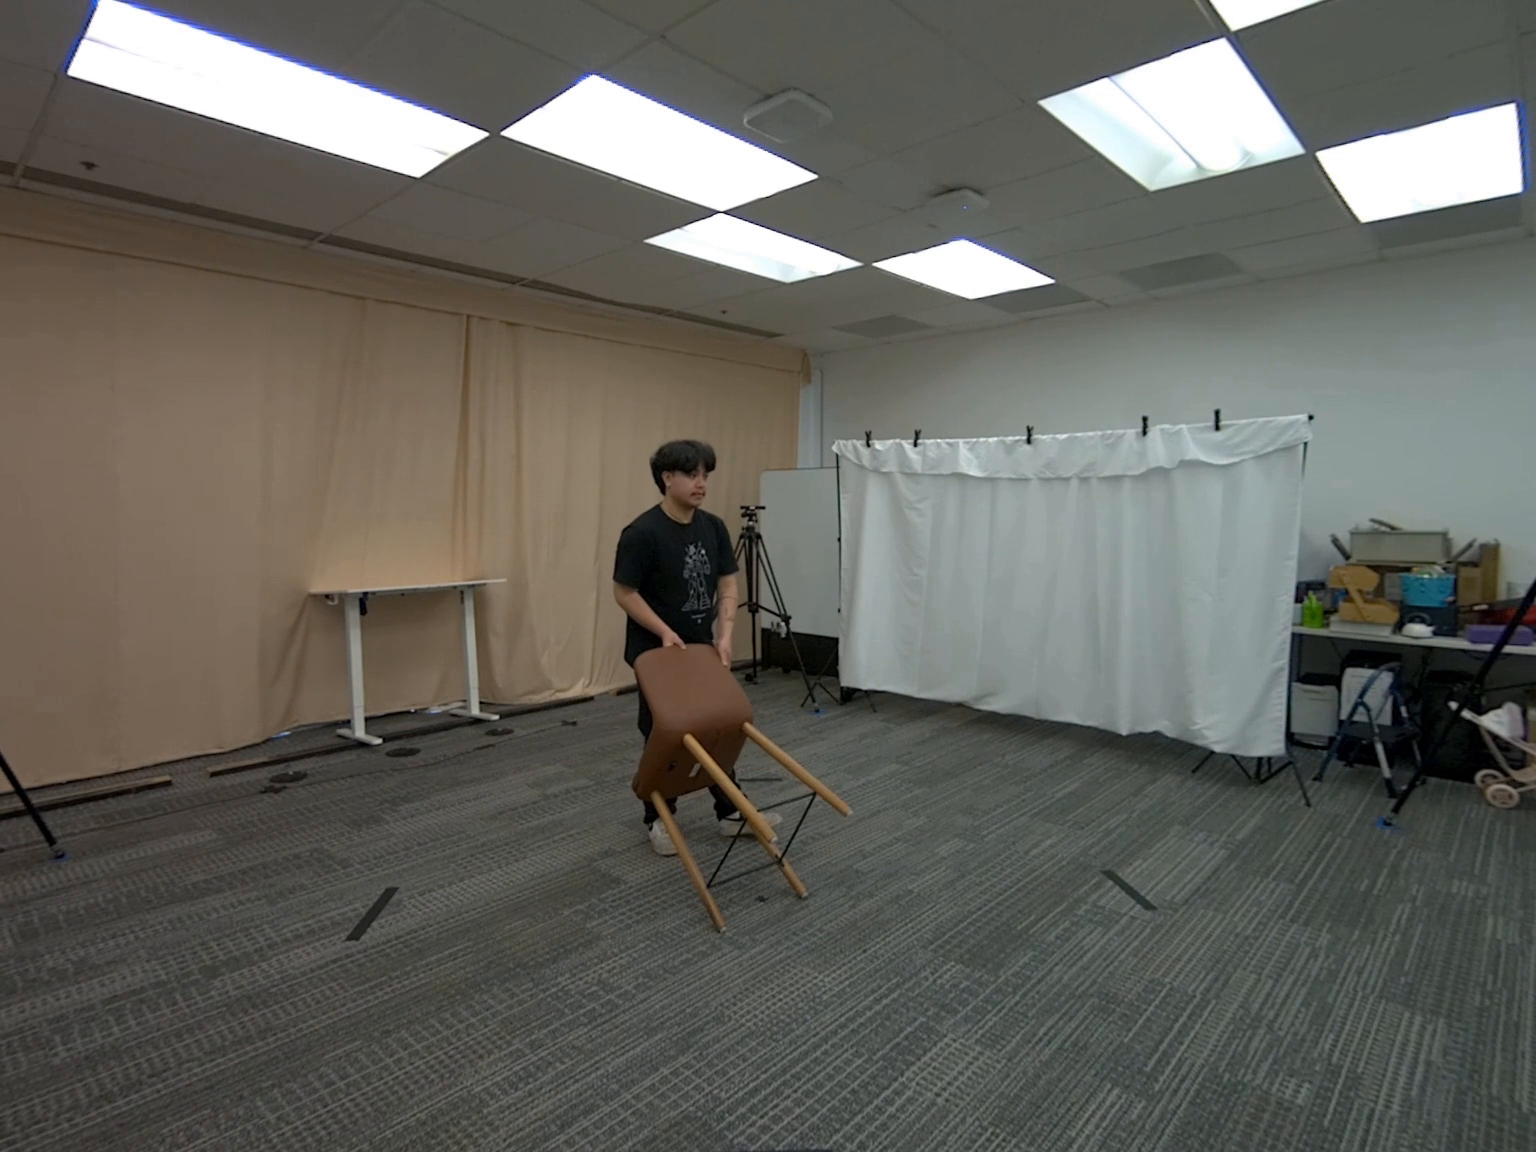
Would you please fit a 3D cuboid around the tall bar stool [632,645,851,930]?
[{"bbox_3d":[-0.173,0.712,3.040,0.443,0.466,0.920,-4,39,-42],"label":"tall bar stool"}]
